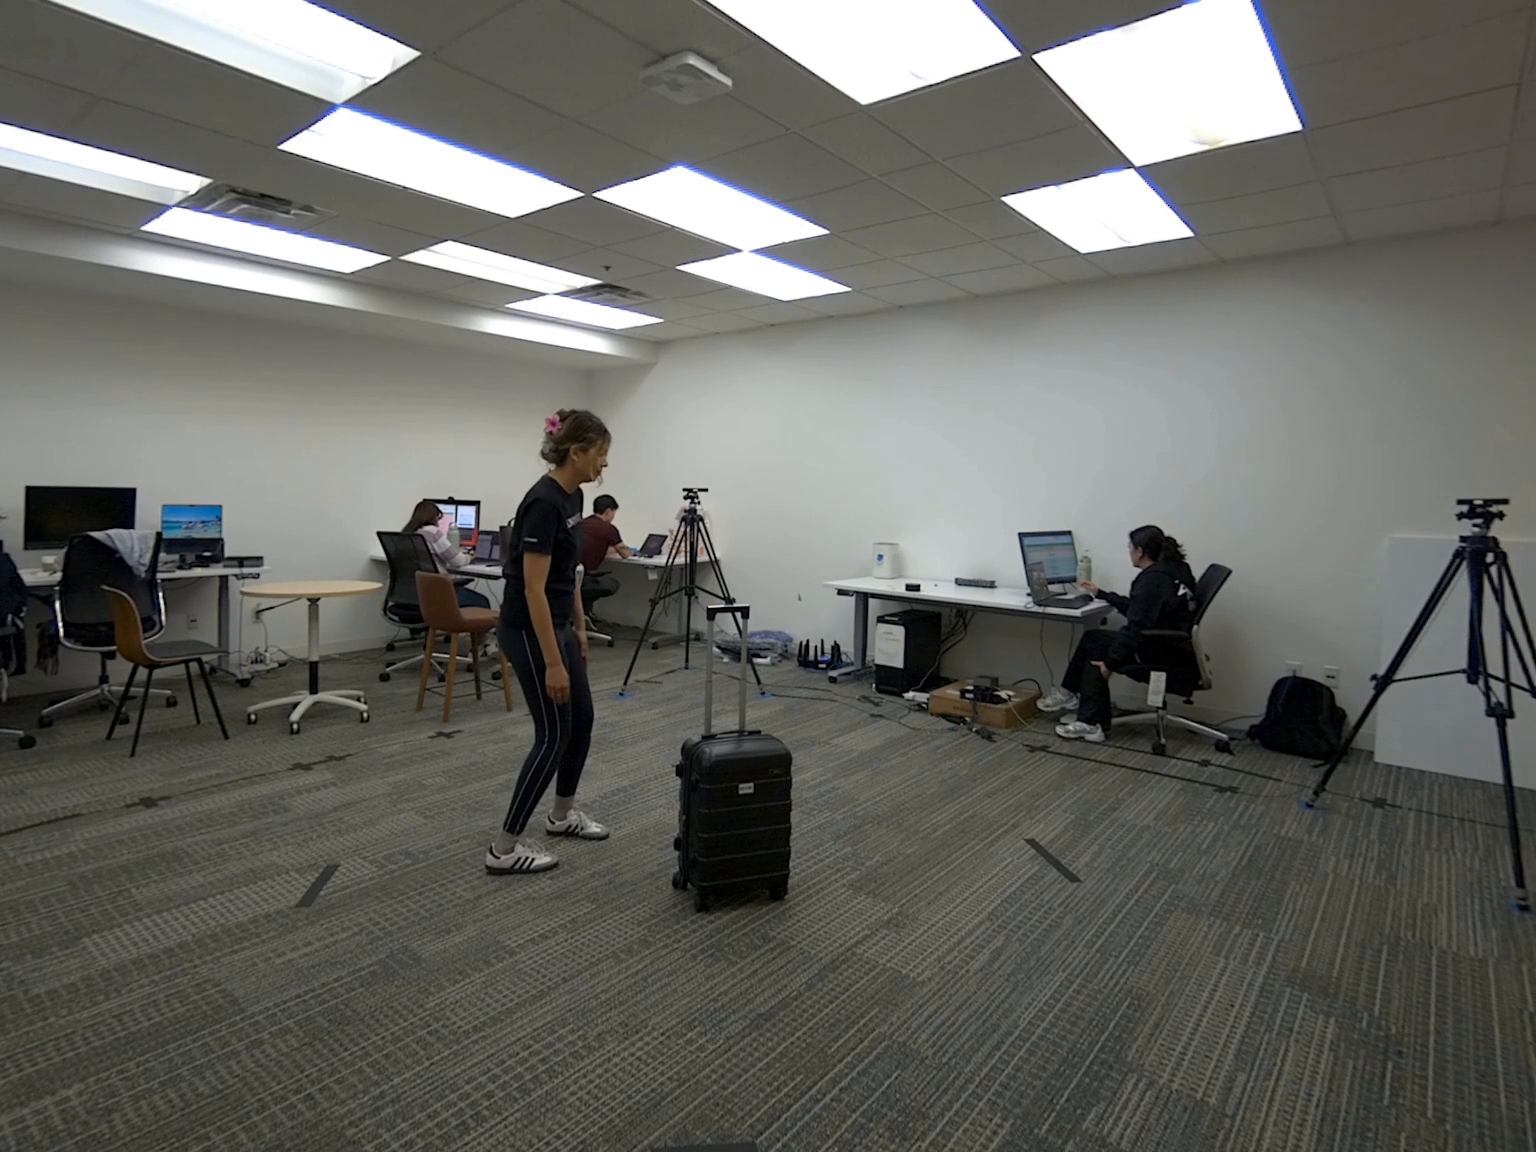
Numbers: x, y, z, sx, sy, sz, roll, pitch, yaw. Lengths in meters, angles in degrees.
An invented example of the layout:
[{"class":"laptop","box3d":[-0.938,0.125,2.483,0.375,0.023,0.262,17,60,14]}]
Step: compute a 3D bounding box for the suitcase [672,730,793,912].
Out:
[{"class":"suitcase","box3d":[-0.115,0.613,2.903,0.376,0.974,0.263,0,5,-19]}]
